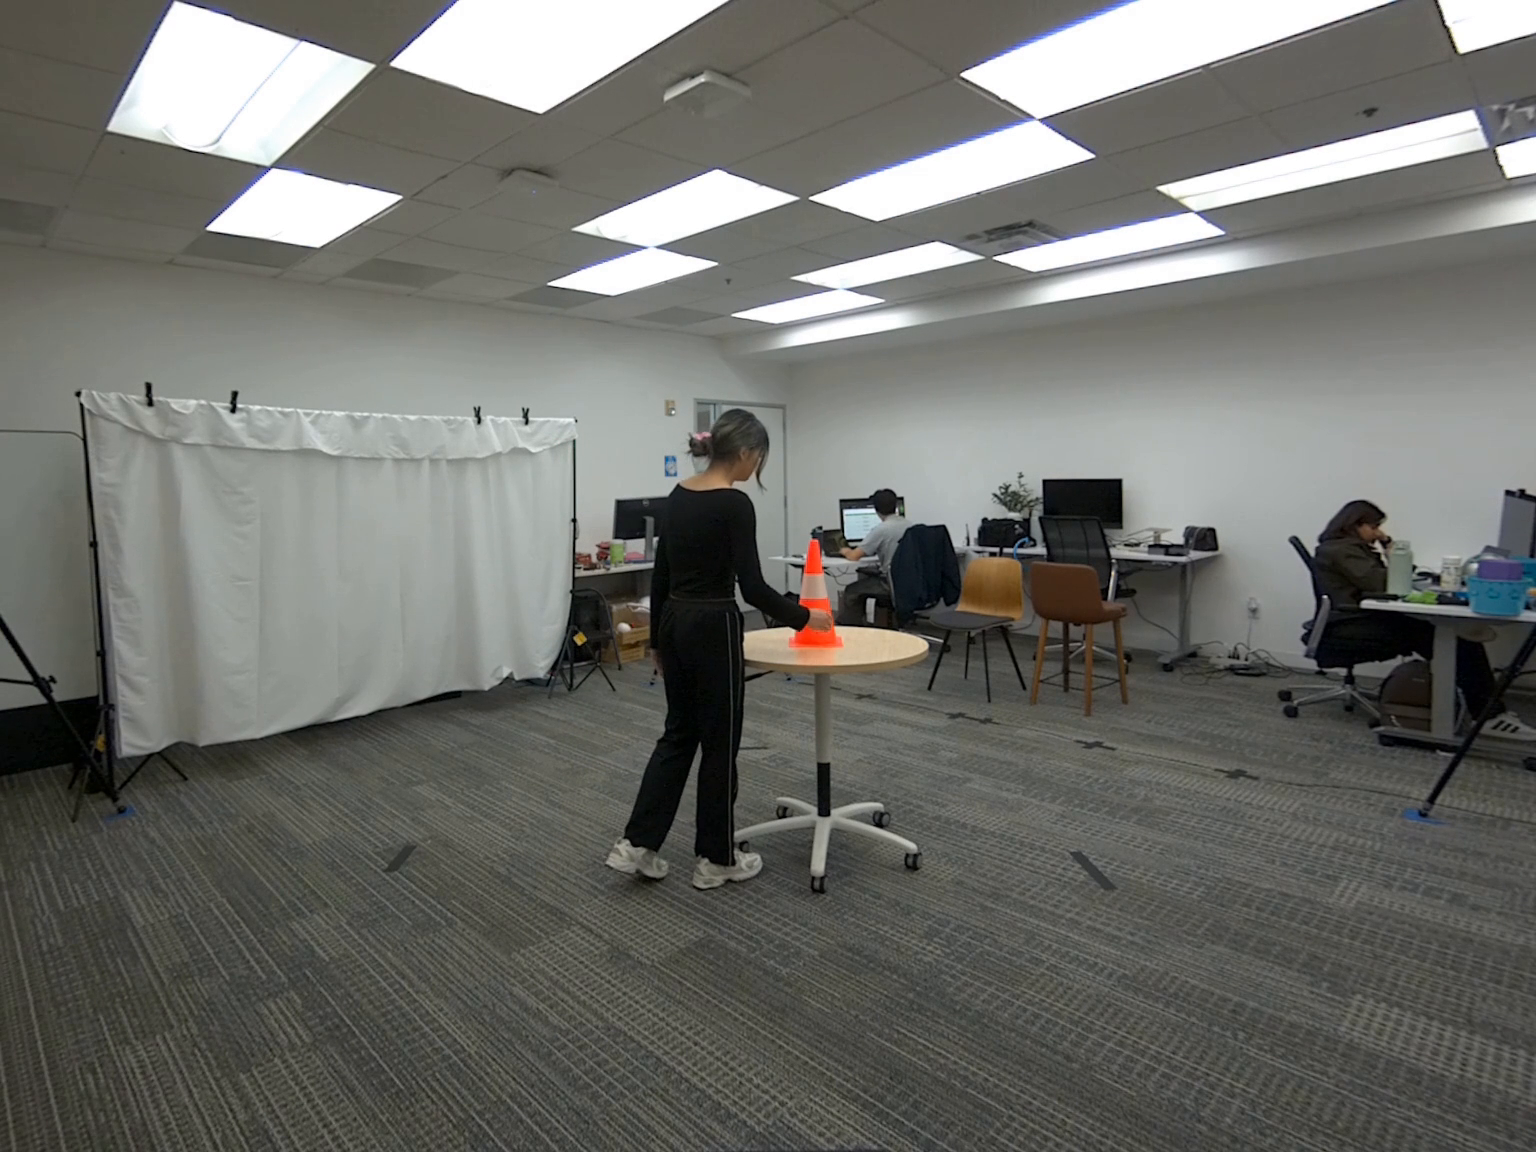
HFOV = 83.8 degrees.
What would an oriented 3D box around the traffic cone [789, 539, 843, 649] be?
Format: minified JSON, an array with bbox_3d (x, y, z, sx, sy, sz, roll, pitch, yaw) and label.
[{"bbox_3d":[0.177,0.058,3.170,0.204,0.383,0.204,-1,2,5],"label":"traffic cone"}]
